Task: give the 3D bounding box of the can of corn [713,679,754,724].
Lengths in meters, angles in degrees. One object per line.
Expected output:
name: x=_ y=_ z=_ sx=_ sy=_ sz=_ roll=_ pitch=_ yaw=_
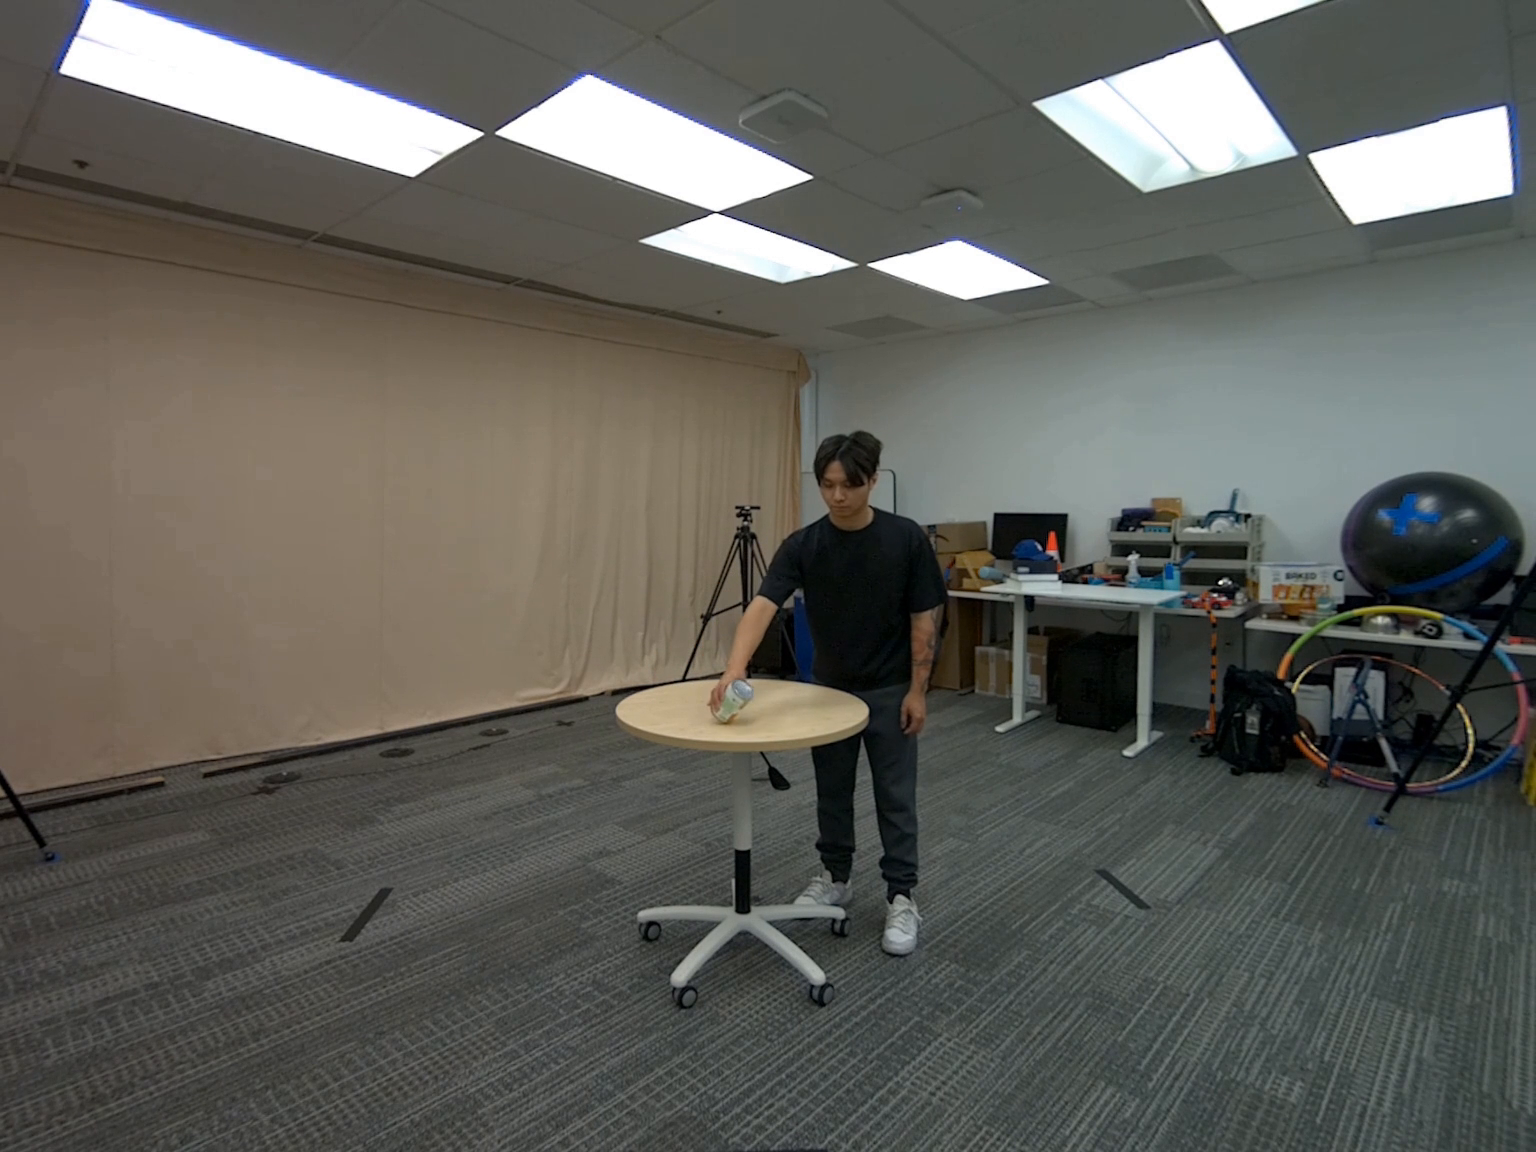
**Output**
can of corn: x=-0.101 y=0.356 z=2.361 sx=0.073 sy=0.111 sz=0.075 roll=25 pitch=22 yaw=-13
